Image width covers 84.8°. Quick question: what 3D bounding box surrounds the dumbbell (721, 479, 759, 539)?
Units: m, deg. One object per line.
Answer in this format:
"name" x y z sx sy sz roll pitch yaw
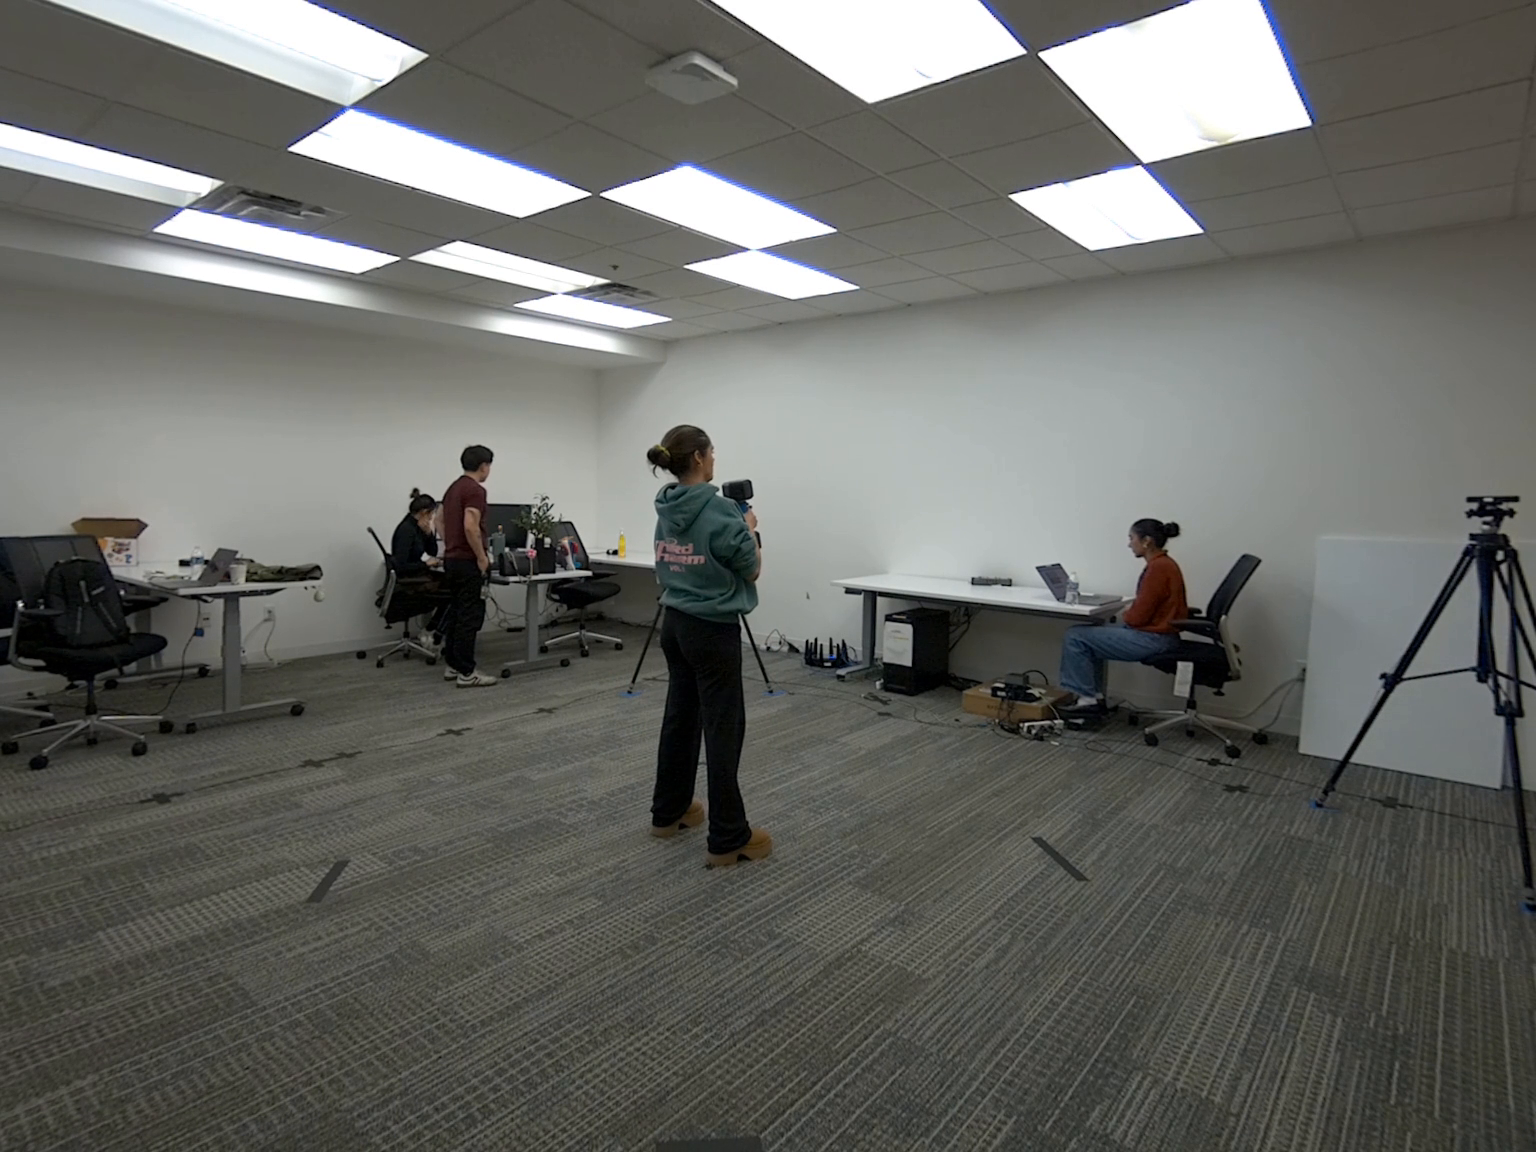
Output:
"dumbbell" -0.114 -0.239 3.418 0.123 0.291 0.109 -8 7 2
